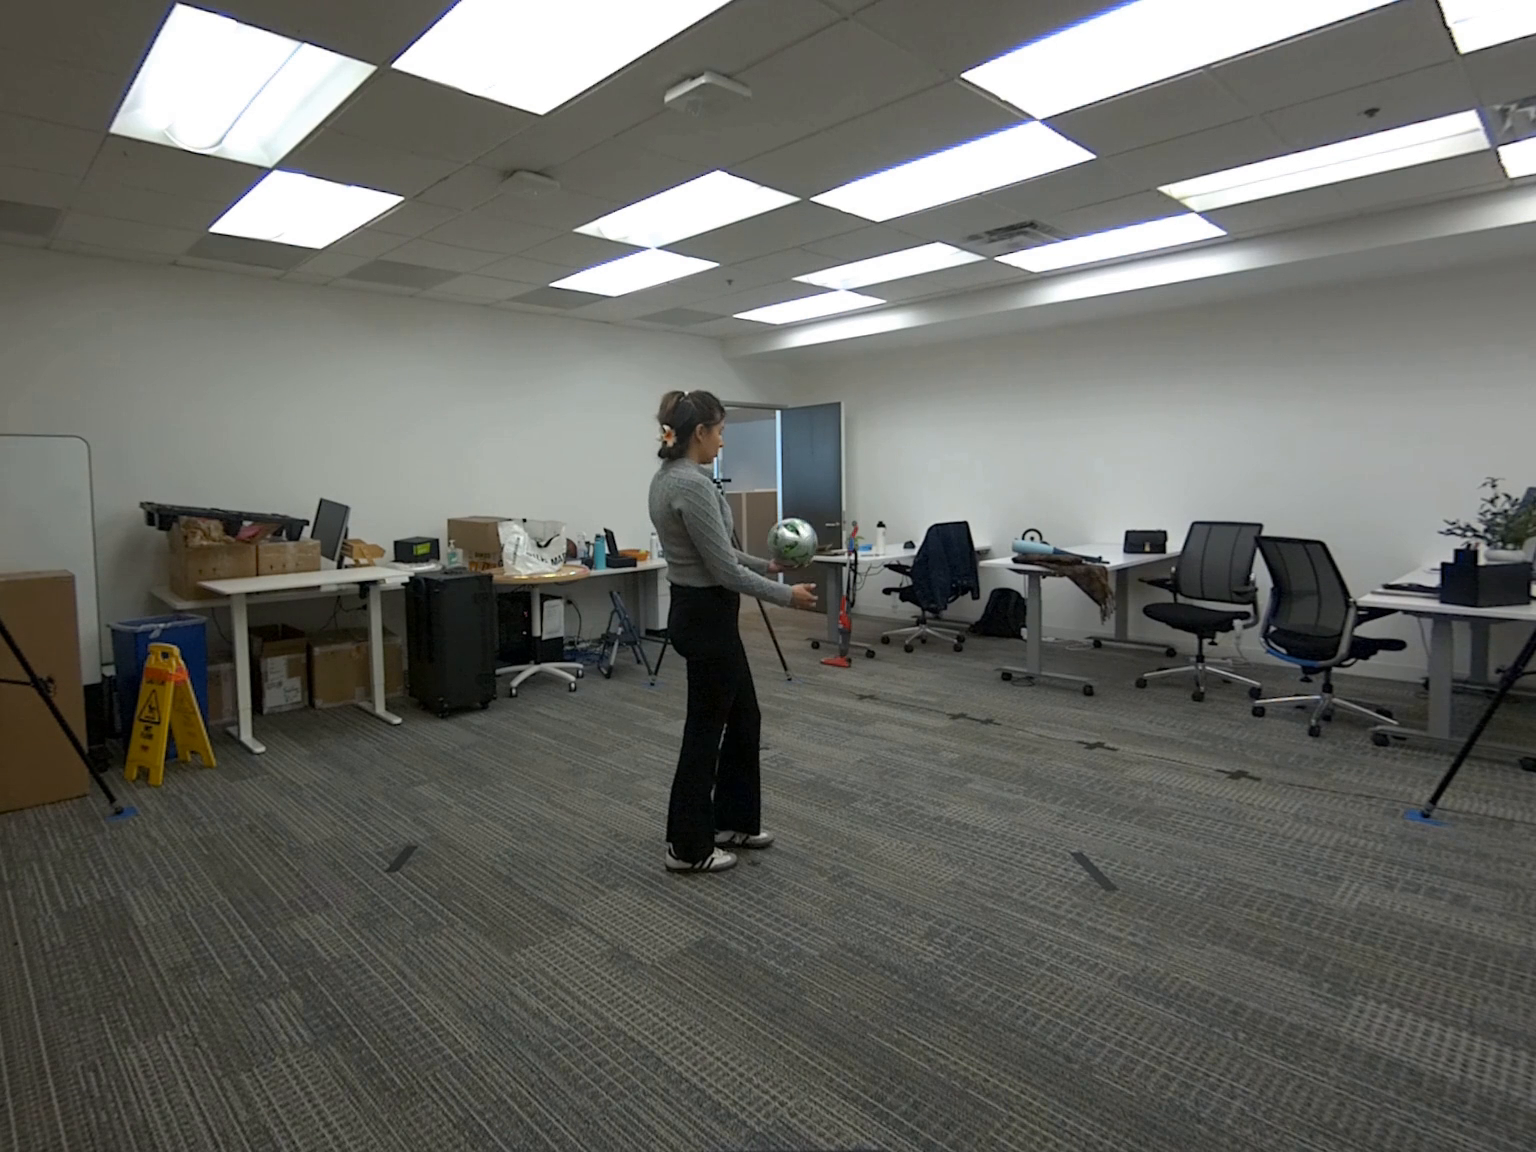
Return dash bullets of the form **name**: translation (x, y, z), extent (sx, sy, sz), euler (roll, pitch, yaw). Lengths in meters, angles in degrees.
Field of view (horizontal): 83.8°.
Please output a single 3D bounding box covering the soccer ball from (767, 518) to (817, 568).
- **soccer ball**: translation (0.084, -0.116, 3.230), extent (0.187, 0.187, 0.188), euler (-1, 5, -2)
